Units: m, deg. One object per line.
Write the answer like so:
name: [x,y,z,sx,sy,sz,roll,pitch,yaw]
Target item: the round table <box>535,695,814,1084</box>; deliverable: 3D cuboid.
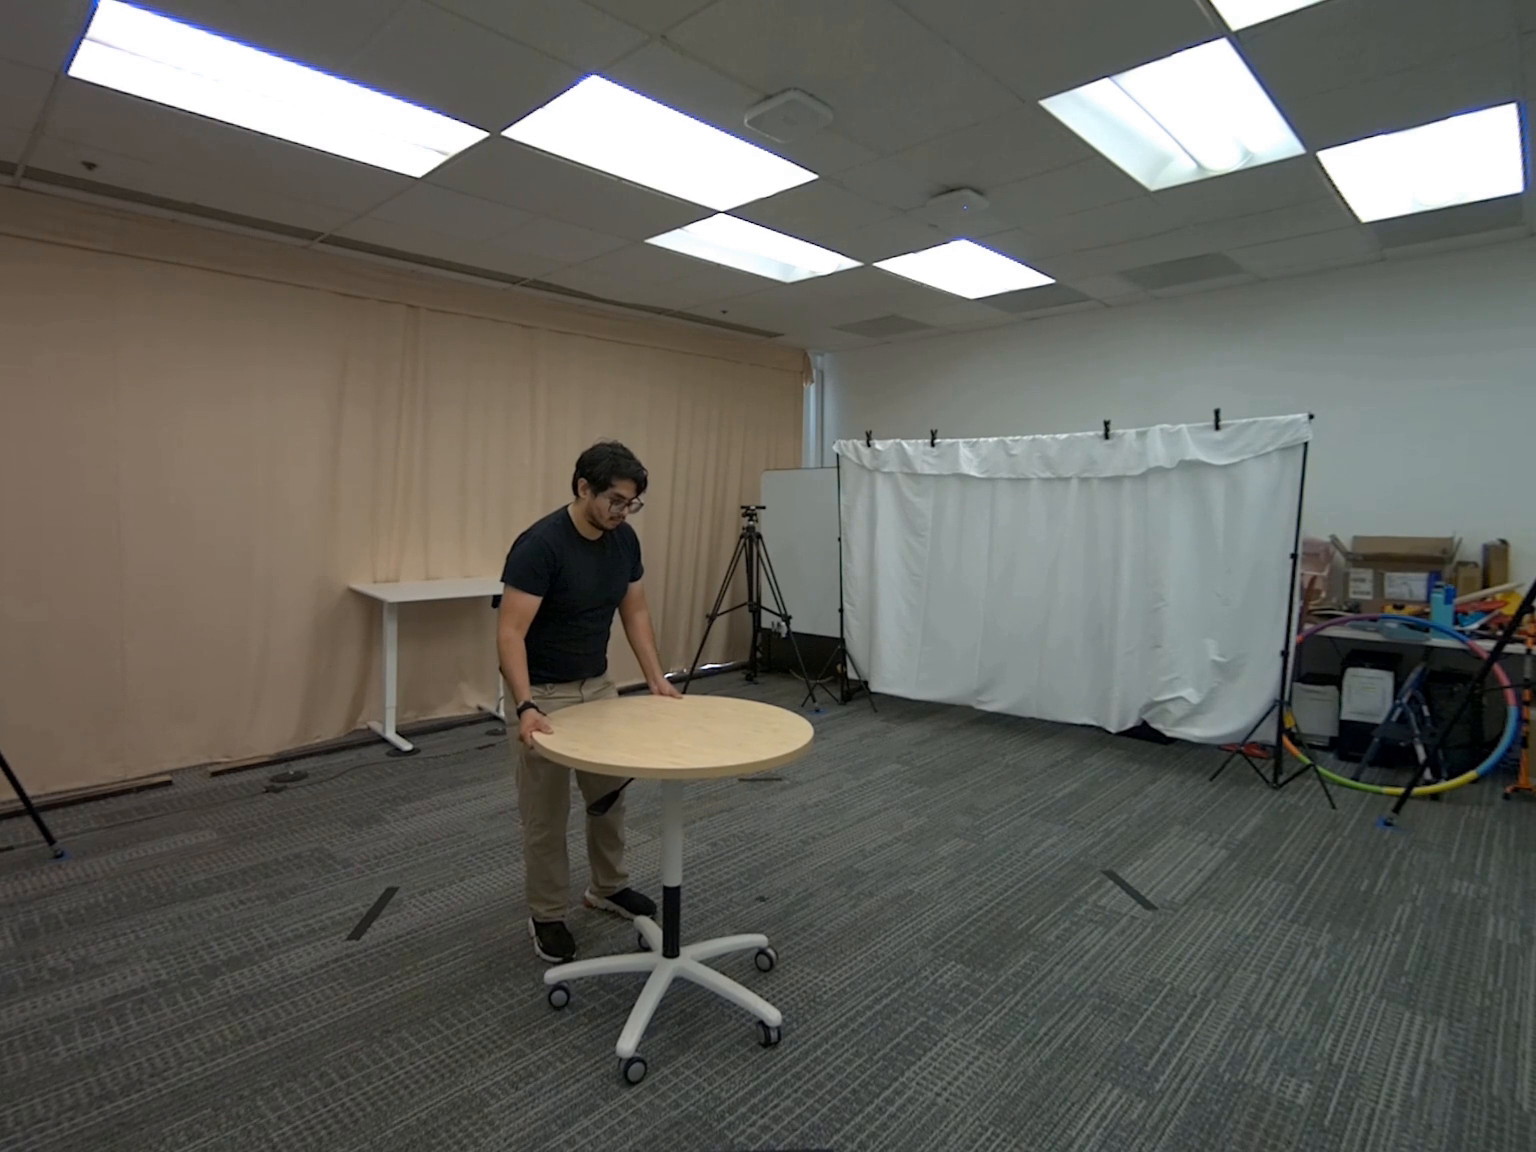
round table: [-0.265,0.803,2.316,0.784,0.785,0.788,1,4,-2]
